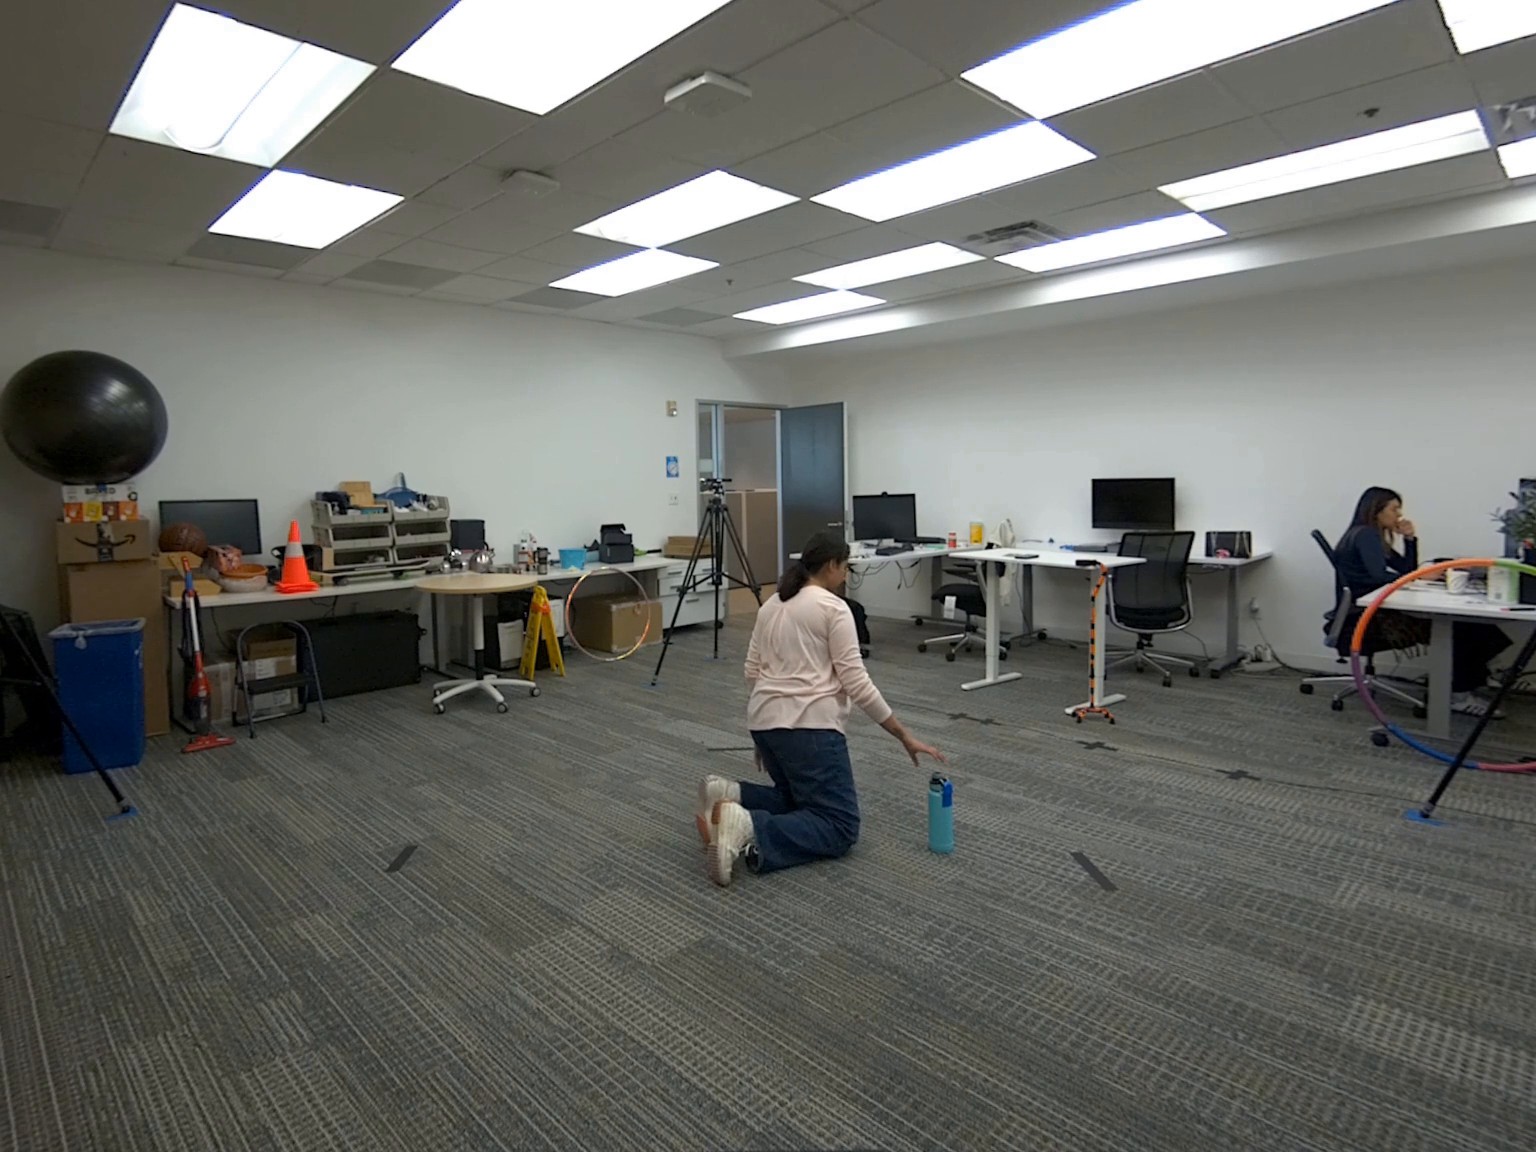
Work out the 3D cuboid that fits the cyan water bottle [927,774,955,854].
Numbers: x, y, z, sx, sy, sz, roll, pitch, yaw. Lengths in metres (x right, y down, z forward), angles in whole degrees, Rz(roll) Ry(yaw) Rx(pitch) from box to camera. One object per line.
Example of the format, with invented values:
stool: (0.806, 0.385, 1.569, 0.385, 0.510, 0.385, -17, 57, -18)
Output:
cyan water bottle: (0.642, 0.876, 3.190, 0.092, 0.282, 0.093, -1, 4, -2)
